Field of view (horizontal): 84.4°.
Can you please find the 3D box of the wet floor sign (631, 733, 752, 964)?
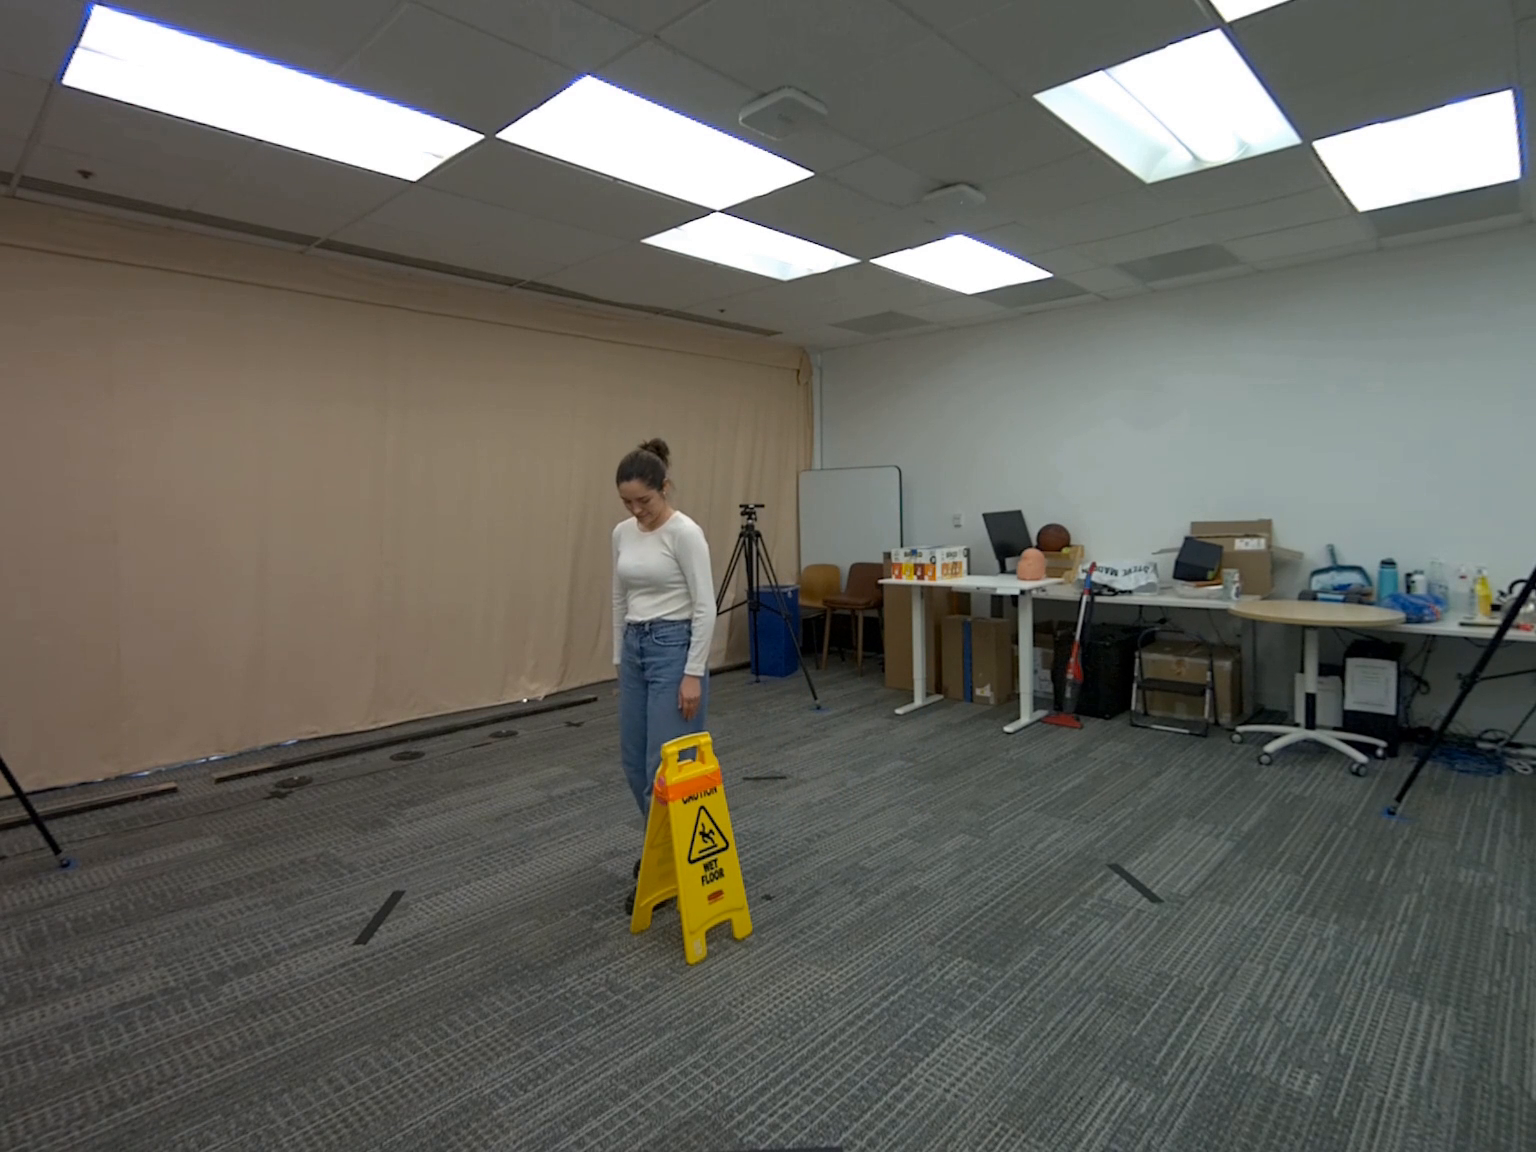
[{"bbox_3d":[-0.255,0.843,2.730,0.299,0.645,0.273,1,4,43],"label":"wet floor sign"}]
